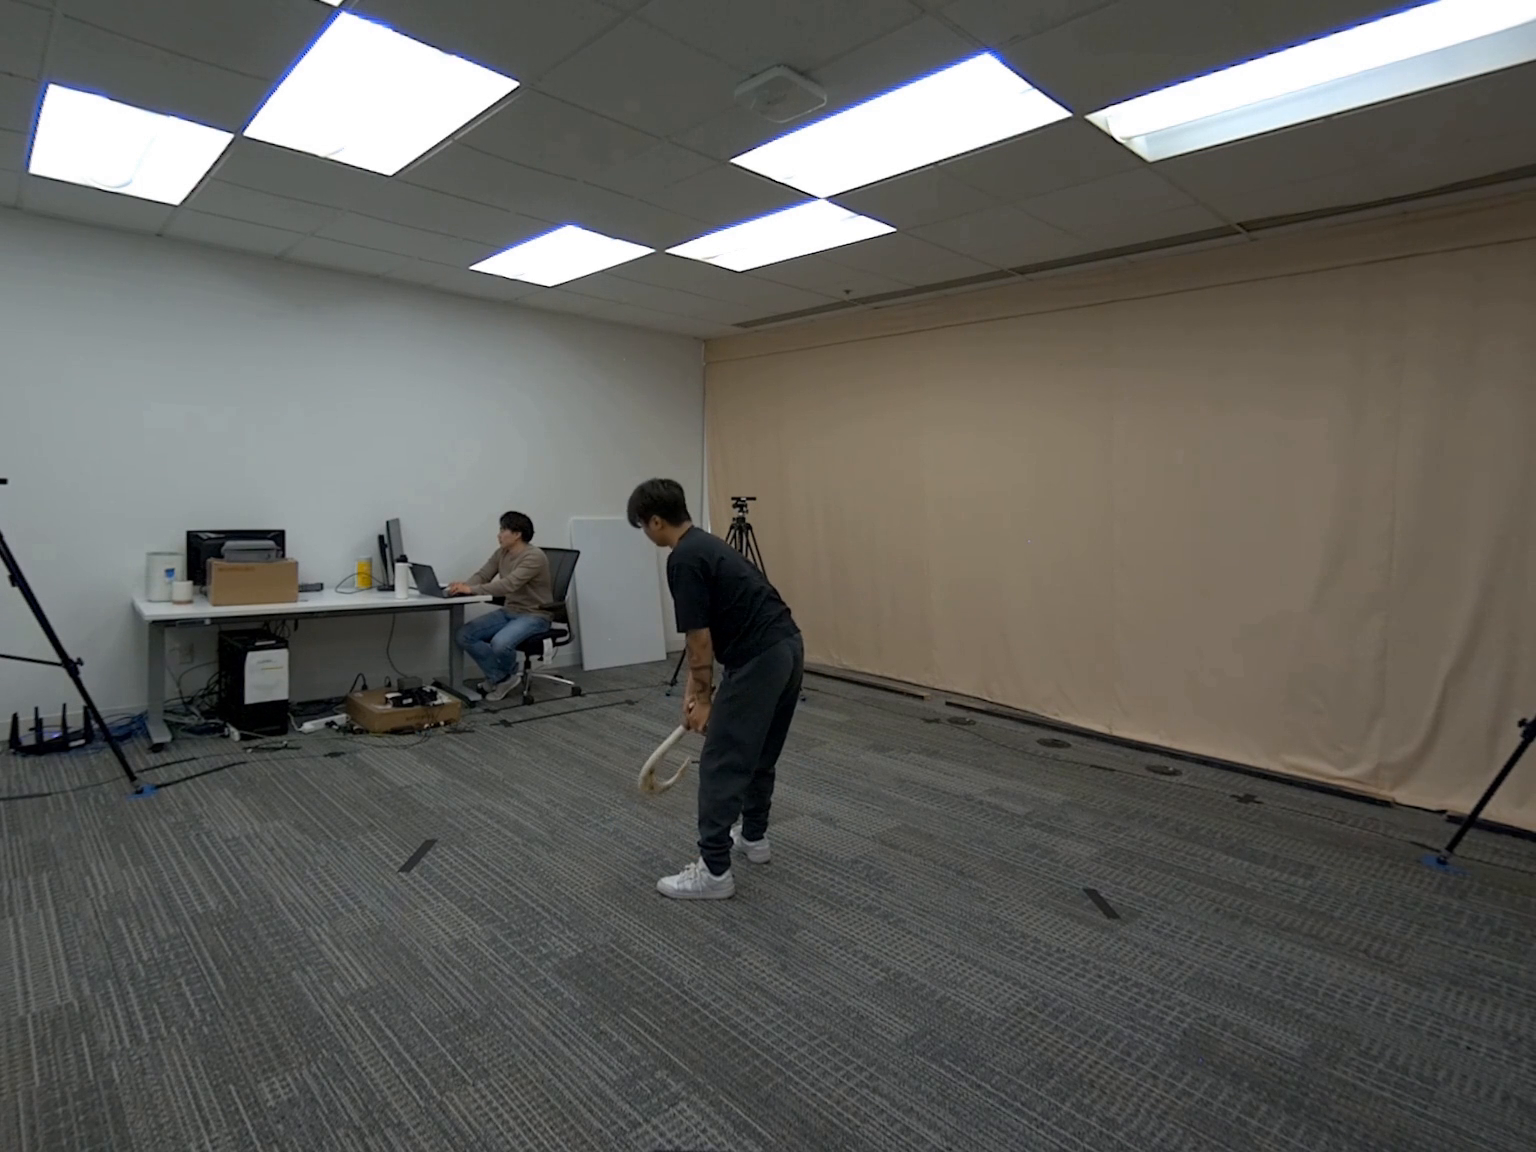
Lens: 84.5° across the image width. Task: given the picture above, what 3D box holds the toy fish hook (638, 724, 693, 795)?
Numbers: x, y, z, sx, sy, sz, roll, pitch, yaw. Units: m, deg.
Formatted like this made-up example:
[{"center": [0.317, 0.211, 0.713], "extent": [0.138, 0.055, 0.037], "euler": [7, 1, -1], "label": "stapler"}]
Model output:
[{"center": [-0.343, 0.637, 3.291], "extent": [0.050, 0.506, 0.217], "euler": [36, 1, 42], "label": "toy fish hook"}]
